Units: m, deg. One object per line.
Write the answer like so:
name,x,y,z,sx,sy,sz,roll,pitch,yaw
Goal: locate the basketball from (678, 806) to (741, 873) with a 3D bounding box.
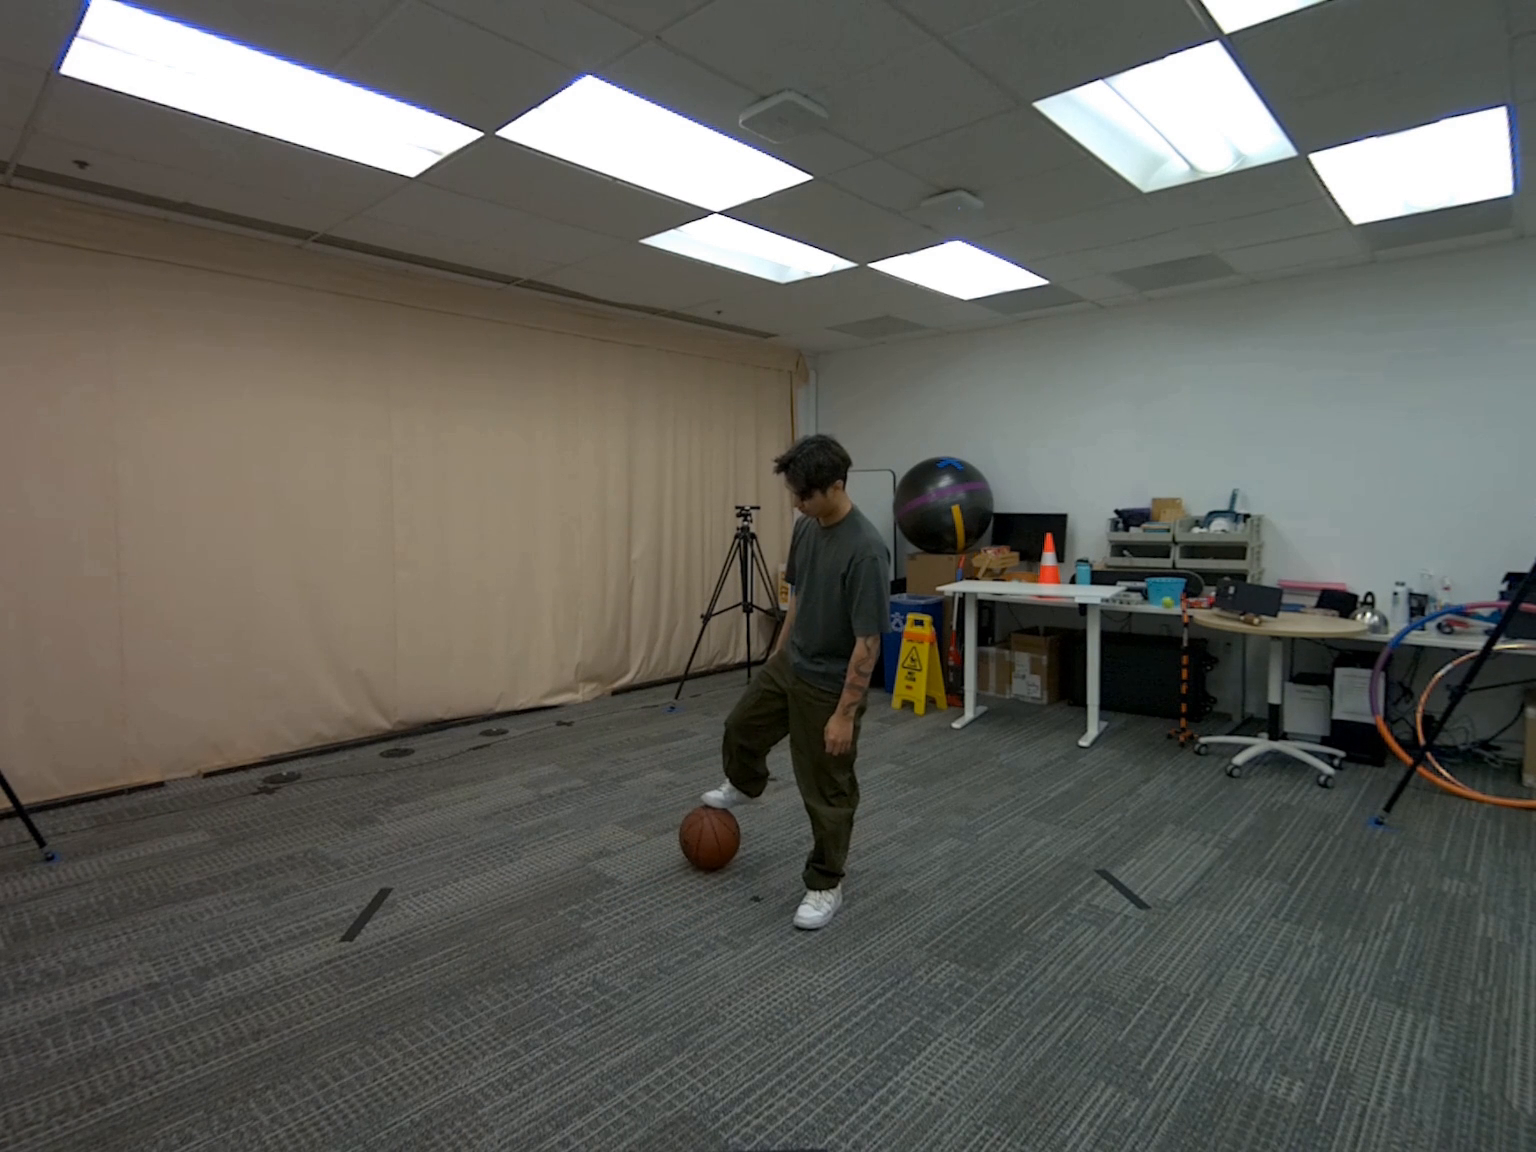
basketball,-0.227,1.005,3.245,0.236,0.235,0.237,0,4,-2
